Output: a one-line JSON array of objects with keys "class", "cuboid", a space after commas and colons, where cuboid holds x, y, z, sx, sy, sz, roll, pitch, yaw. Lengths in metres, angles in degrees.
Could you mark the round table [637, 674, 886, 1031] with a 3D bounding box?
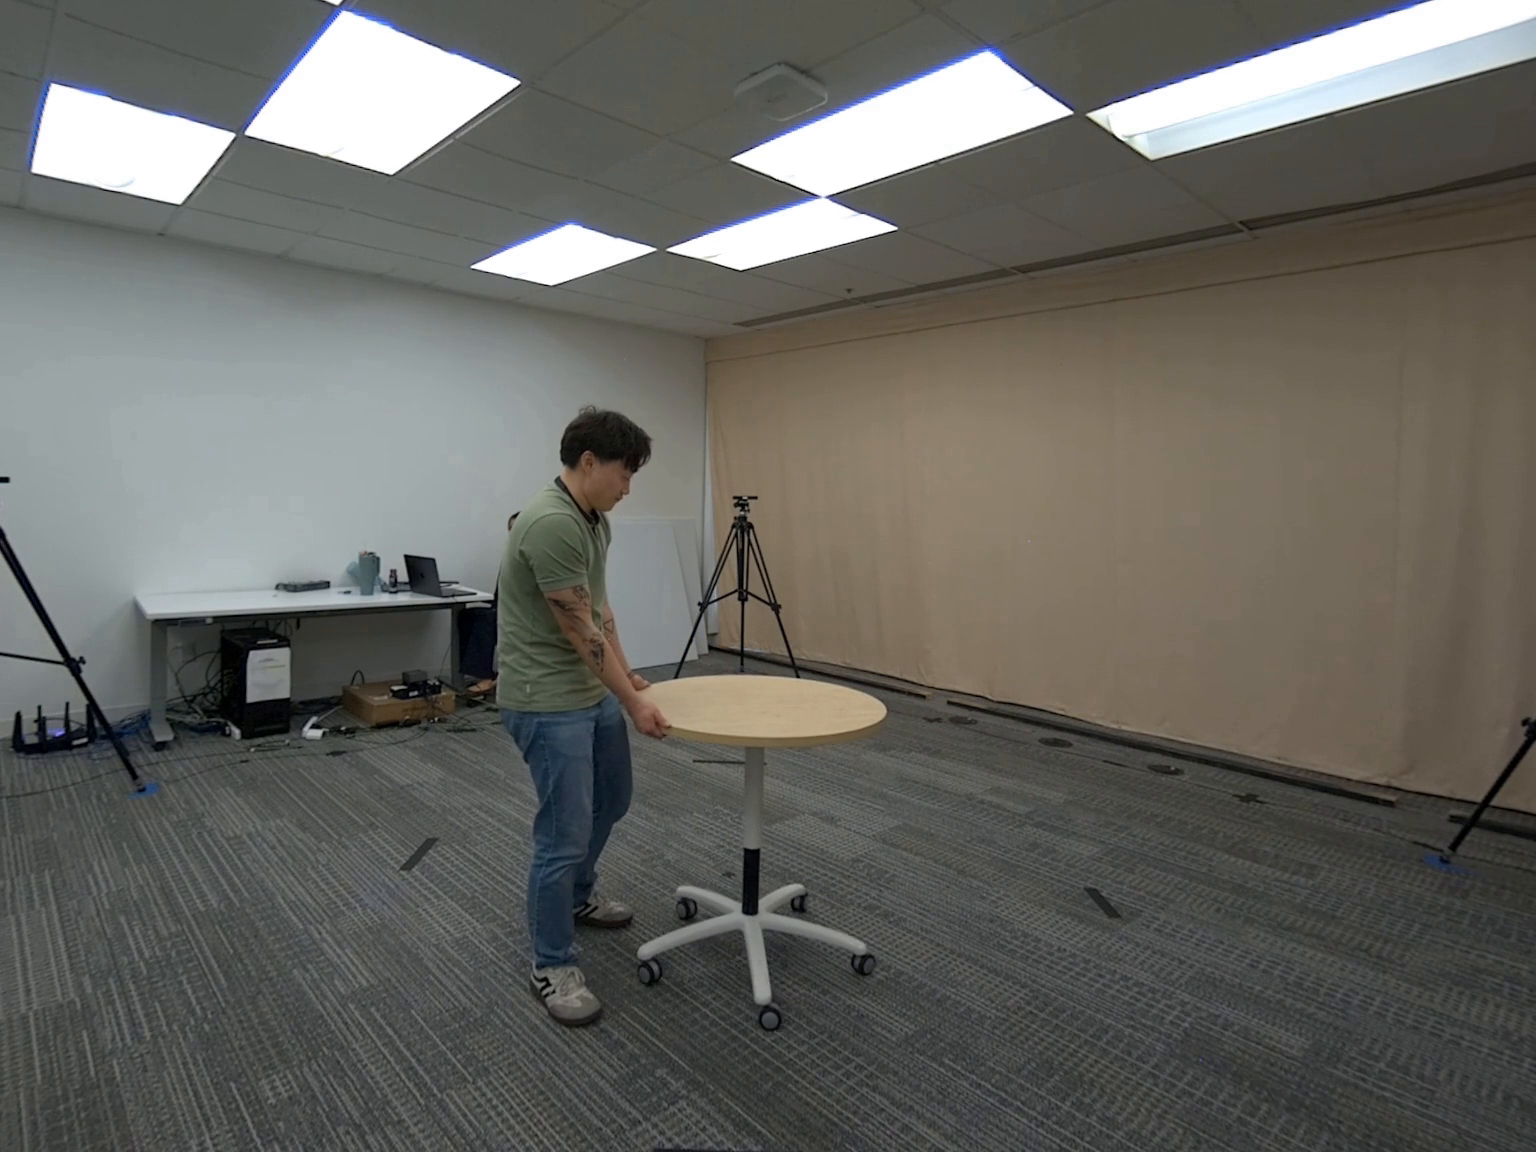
[{"class": "round table", "cuboid": [-0.040, 0.769, 2.530, 0.763, 0.792, 0.766, 1, 4, -1]}]
